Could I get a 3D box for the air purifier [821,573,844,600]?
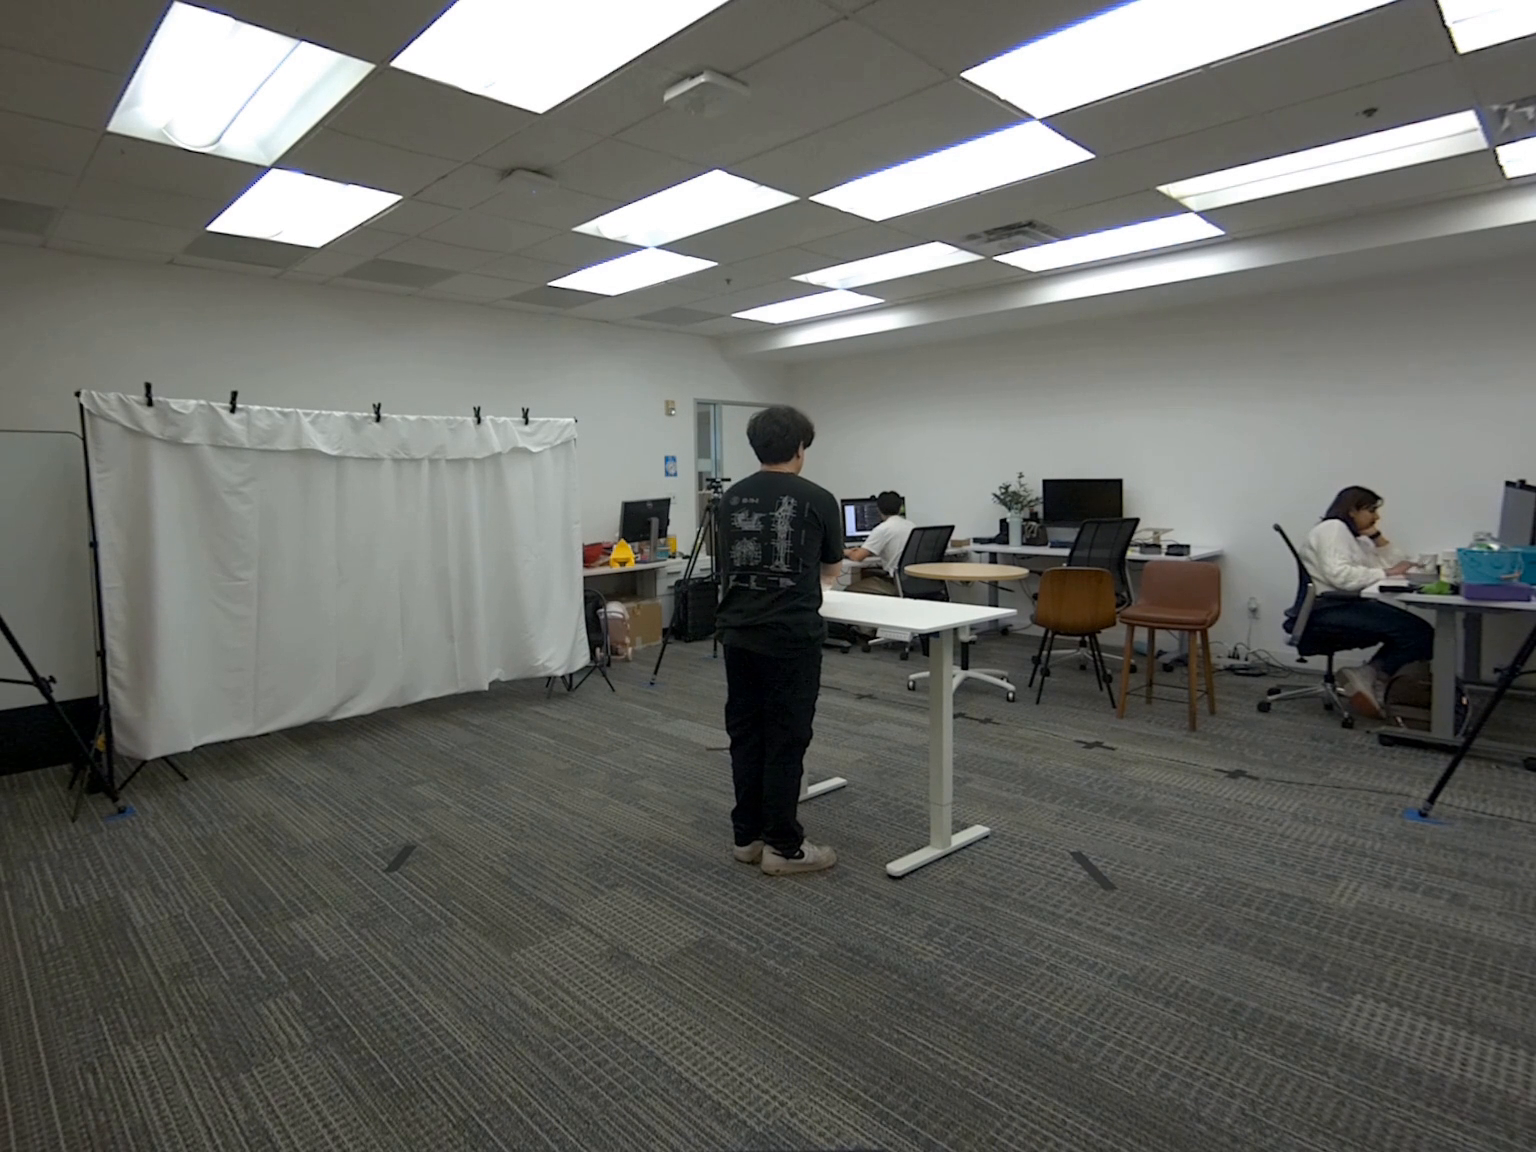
[{"bbox_3d":[0.175,-0.067,3.521,0.176,0.264,0.167,4,5,31],"label":"air purifier"}]
